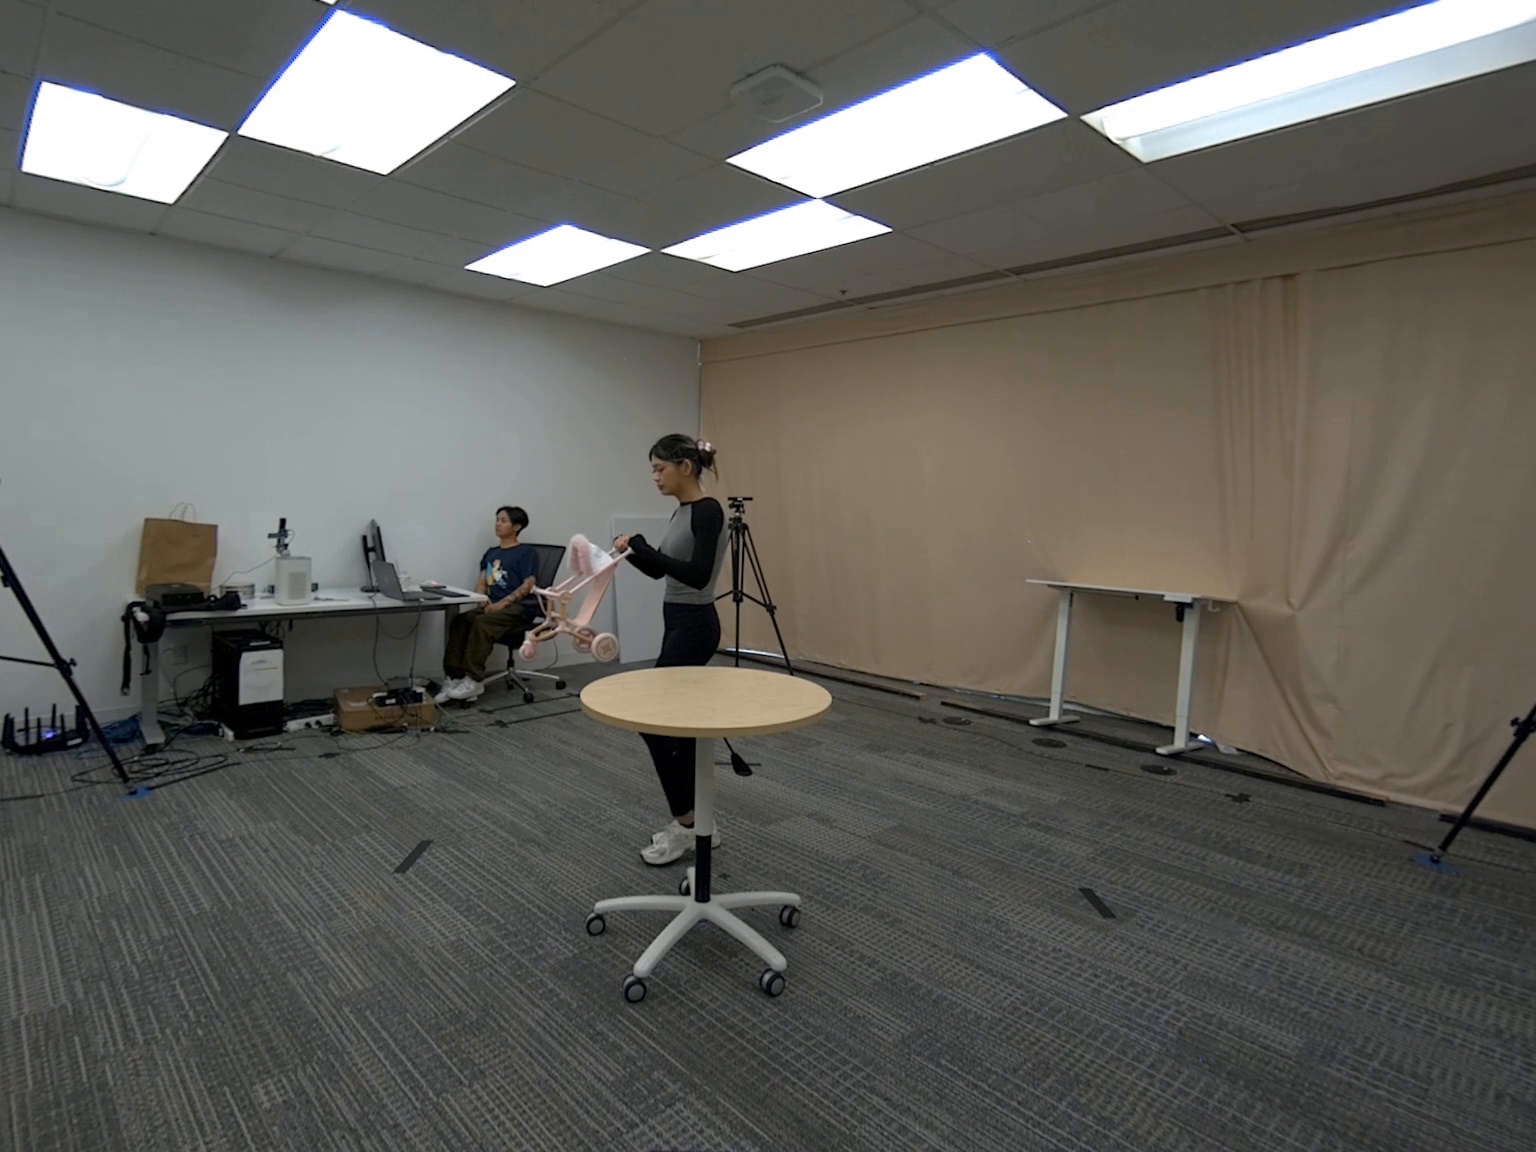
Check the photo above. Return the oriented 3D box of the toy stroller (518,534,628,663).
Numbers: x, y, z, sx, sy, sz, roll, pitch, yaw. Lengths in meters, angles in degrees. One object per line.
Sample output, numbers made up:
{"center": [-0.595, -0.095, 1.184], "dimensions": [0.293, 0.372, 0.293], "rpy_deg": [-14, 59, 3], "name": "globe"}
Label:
{"center": [-0.720, 0.085, 3.155], "dimensions": [0.334, 0.536, 0.286], "rpy_deg": [15, -5, -23], "name": "toy stroller"}
